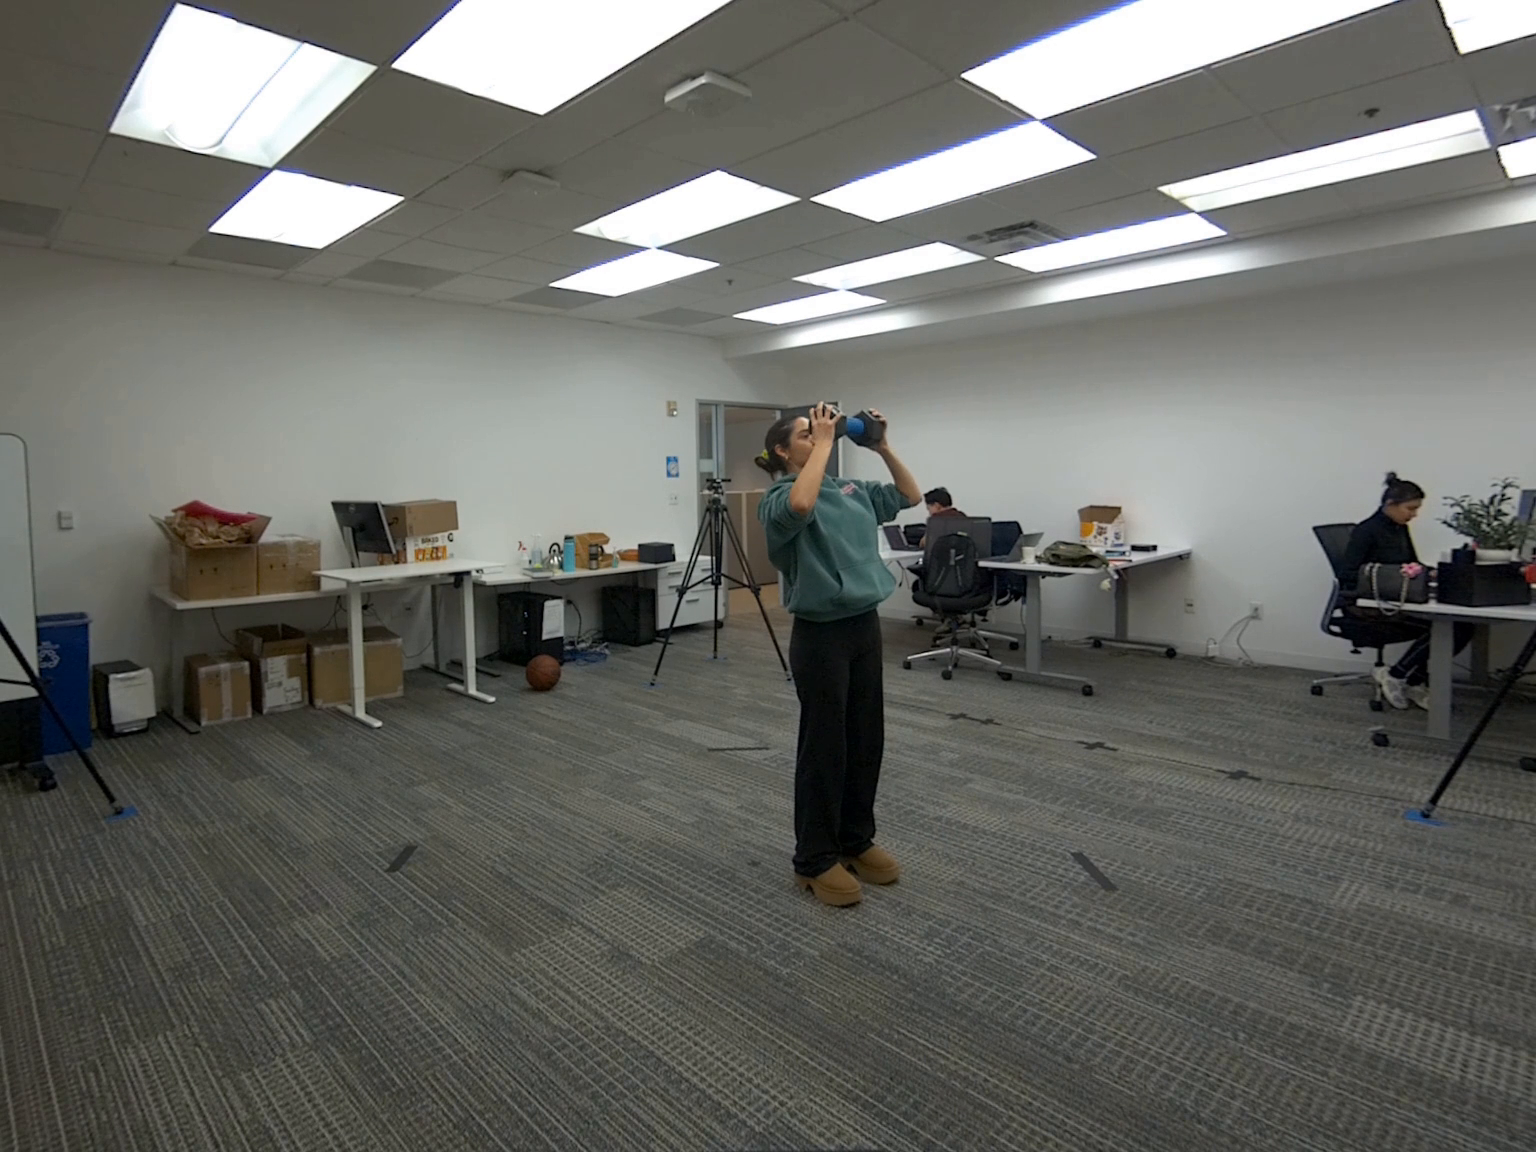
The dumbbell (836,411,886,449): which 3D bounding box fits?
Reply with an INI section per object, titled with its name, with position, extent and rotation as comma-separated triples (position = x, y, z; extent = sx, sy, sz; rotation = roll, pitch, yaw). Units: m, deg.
[dumbbell]
position = 0.259, -0.498, 2.835
extent = 0.112, 0.122, 0.286
rotation = 14, 13, 40
